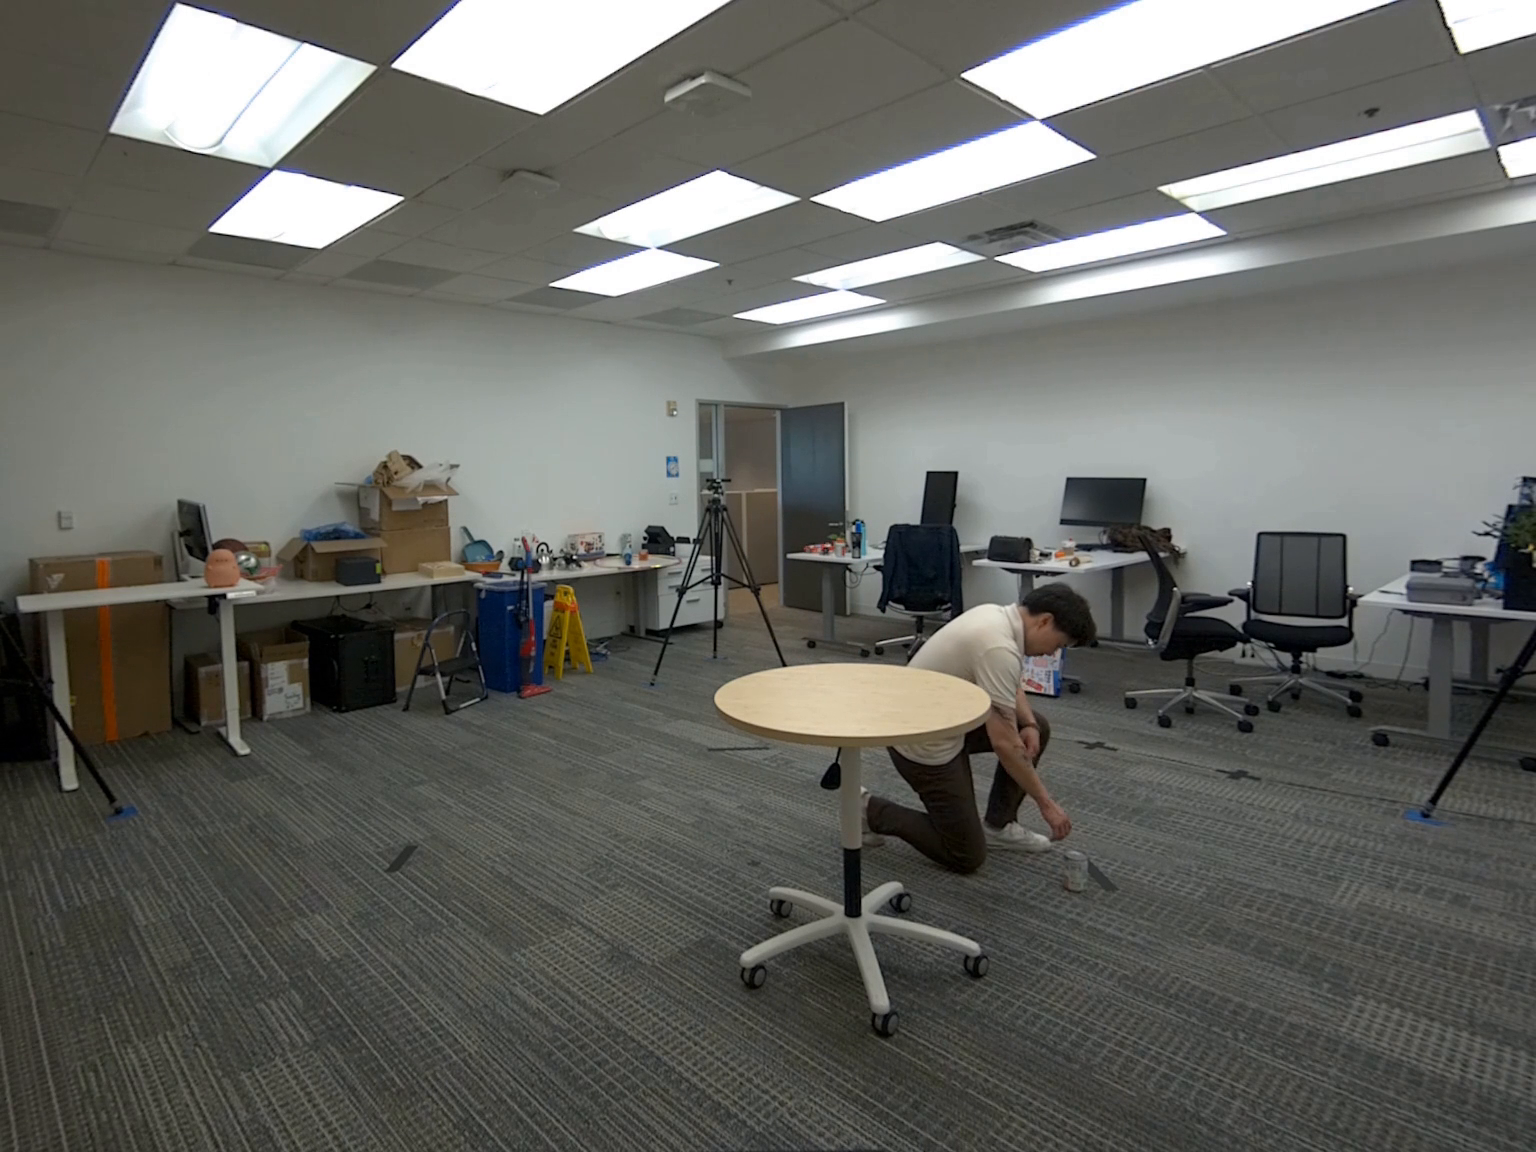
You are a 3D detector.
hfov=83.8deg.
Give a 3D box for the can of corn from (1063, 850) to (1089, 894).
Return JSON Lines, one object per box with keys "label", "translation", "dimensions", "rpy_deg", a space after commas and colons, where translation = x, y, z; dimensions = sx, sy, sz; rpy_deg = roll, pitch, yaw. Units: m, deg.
{"label": "can of corn", "translation": [1.026, 0.993, 2.877], "dimensions": [0.074, 0.110, 0.074], "rpy_deg": [0, 4, -2]}
